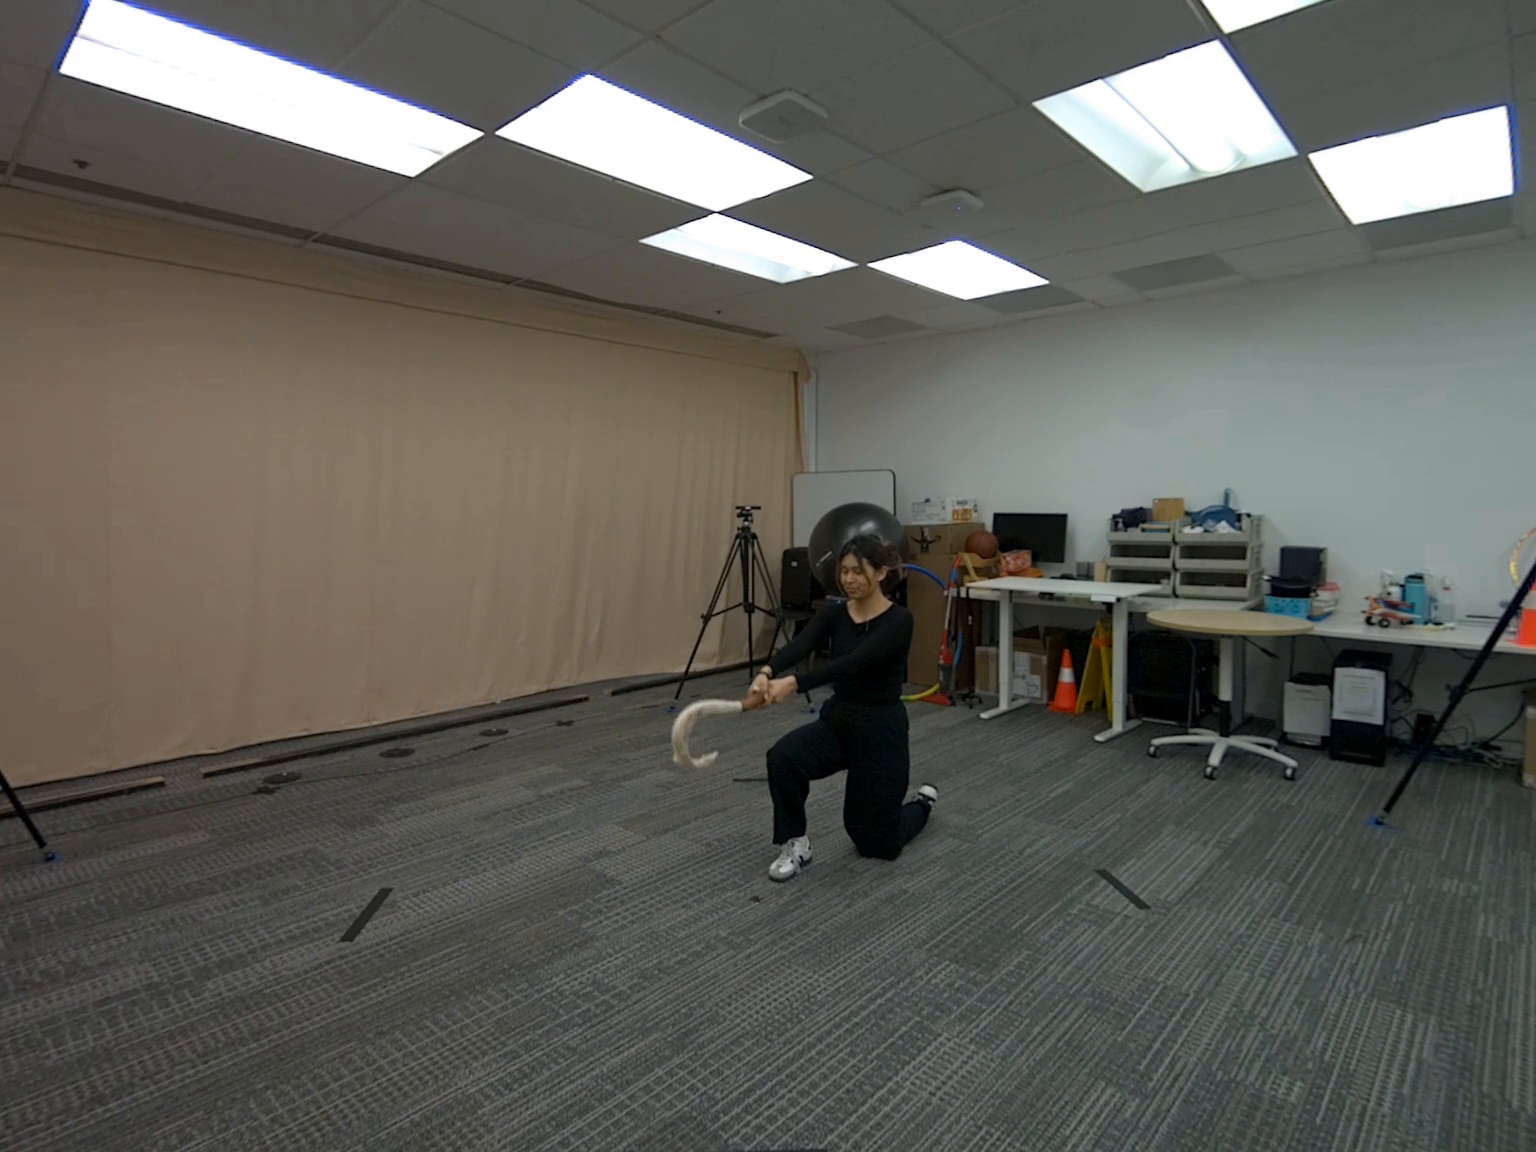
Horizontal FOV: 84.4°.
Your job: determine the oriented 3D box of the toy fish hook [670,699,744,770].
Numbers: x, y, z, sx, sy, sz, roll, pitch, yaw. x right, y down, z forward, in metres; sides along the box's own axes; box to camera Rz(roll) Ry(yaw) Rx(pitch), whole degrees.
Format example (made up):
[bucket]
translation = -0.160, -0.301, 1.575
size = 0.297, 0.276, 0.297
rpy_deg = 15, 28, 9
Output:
[toy fish hook]
translation = -0.122, 0.467, 2.822
size = 0.050, 0.223, 0.492
rpy_deg = 11, 16, 43
